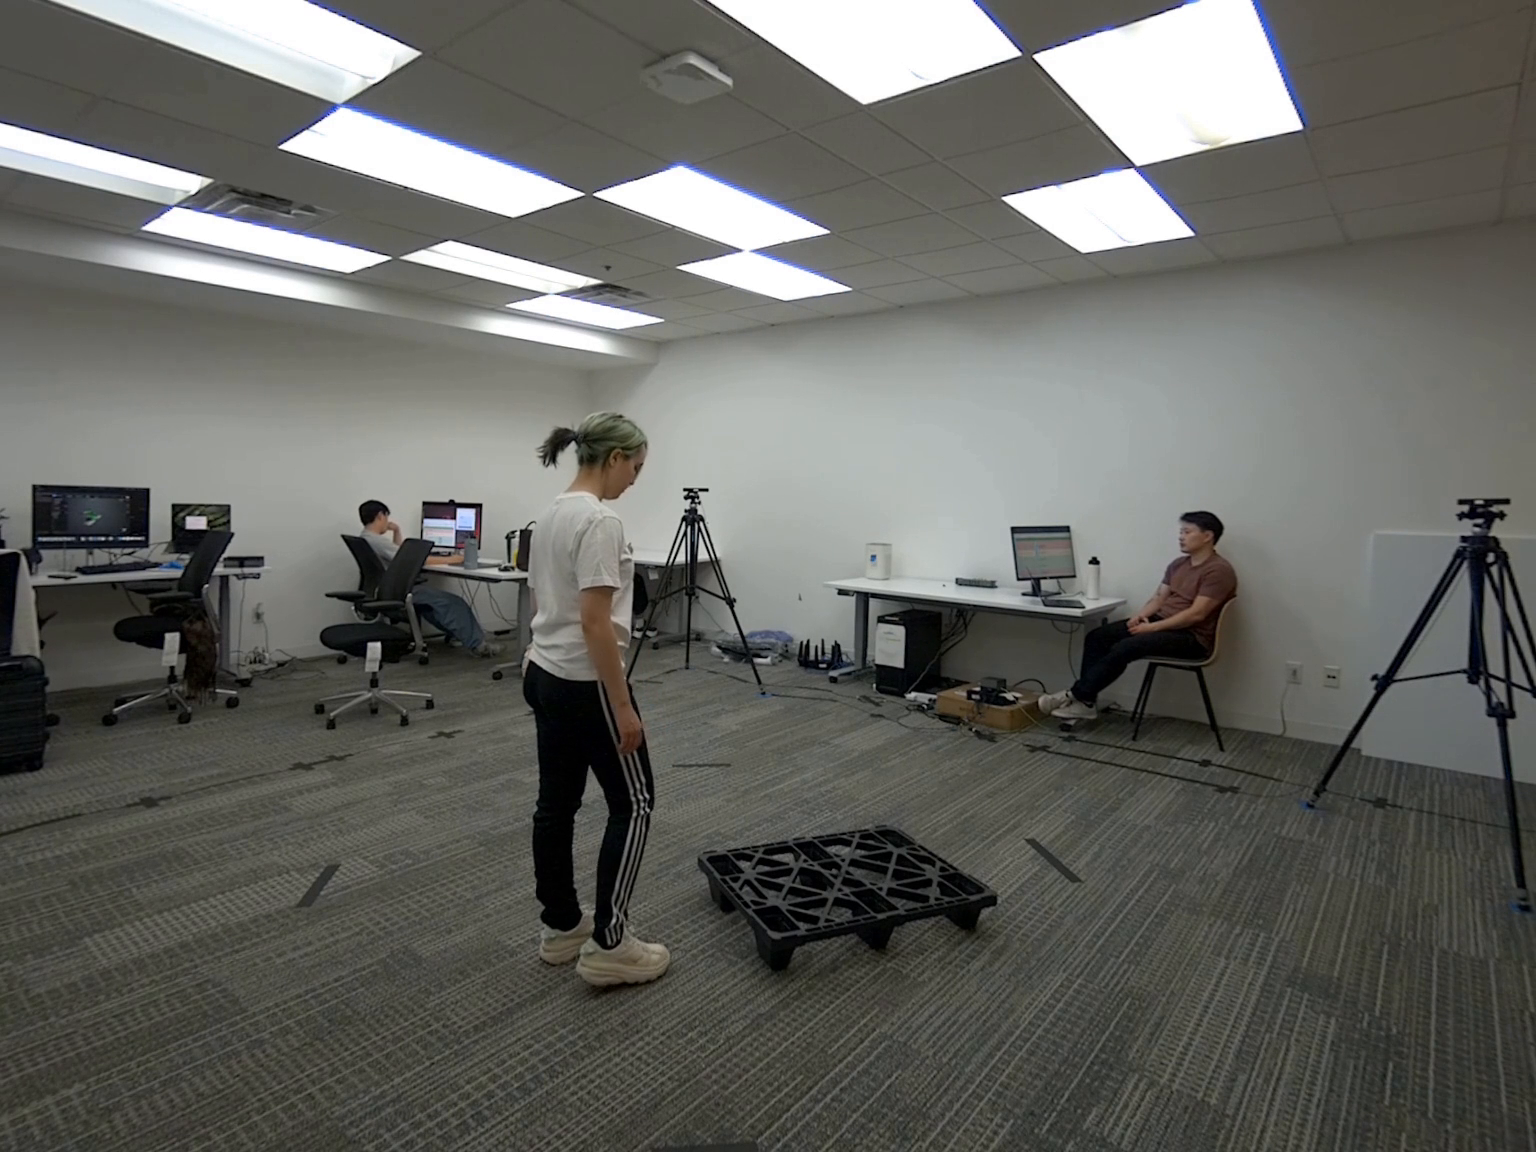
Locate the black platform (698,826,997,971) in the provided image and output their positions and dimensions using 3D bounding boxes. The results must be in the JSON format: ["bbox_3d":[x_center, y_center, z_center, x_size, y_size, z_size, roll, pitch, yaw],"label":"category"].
[{"bbox_3d":[0.234,1.041,2.804,0.787,0.143,0.622,-1,7,-24],"label":"black platform"}]
